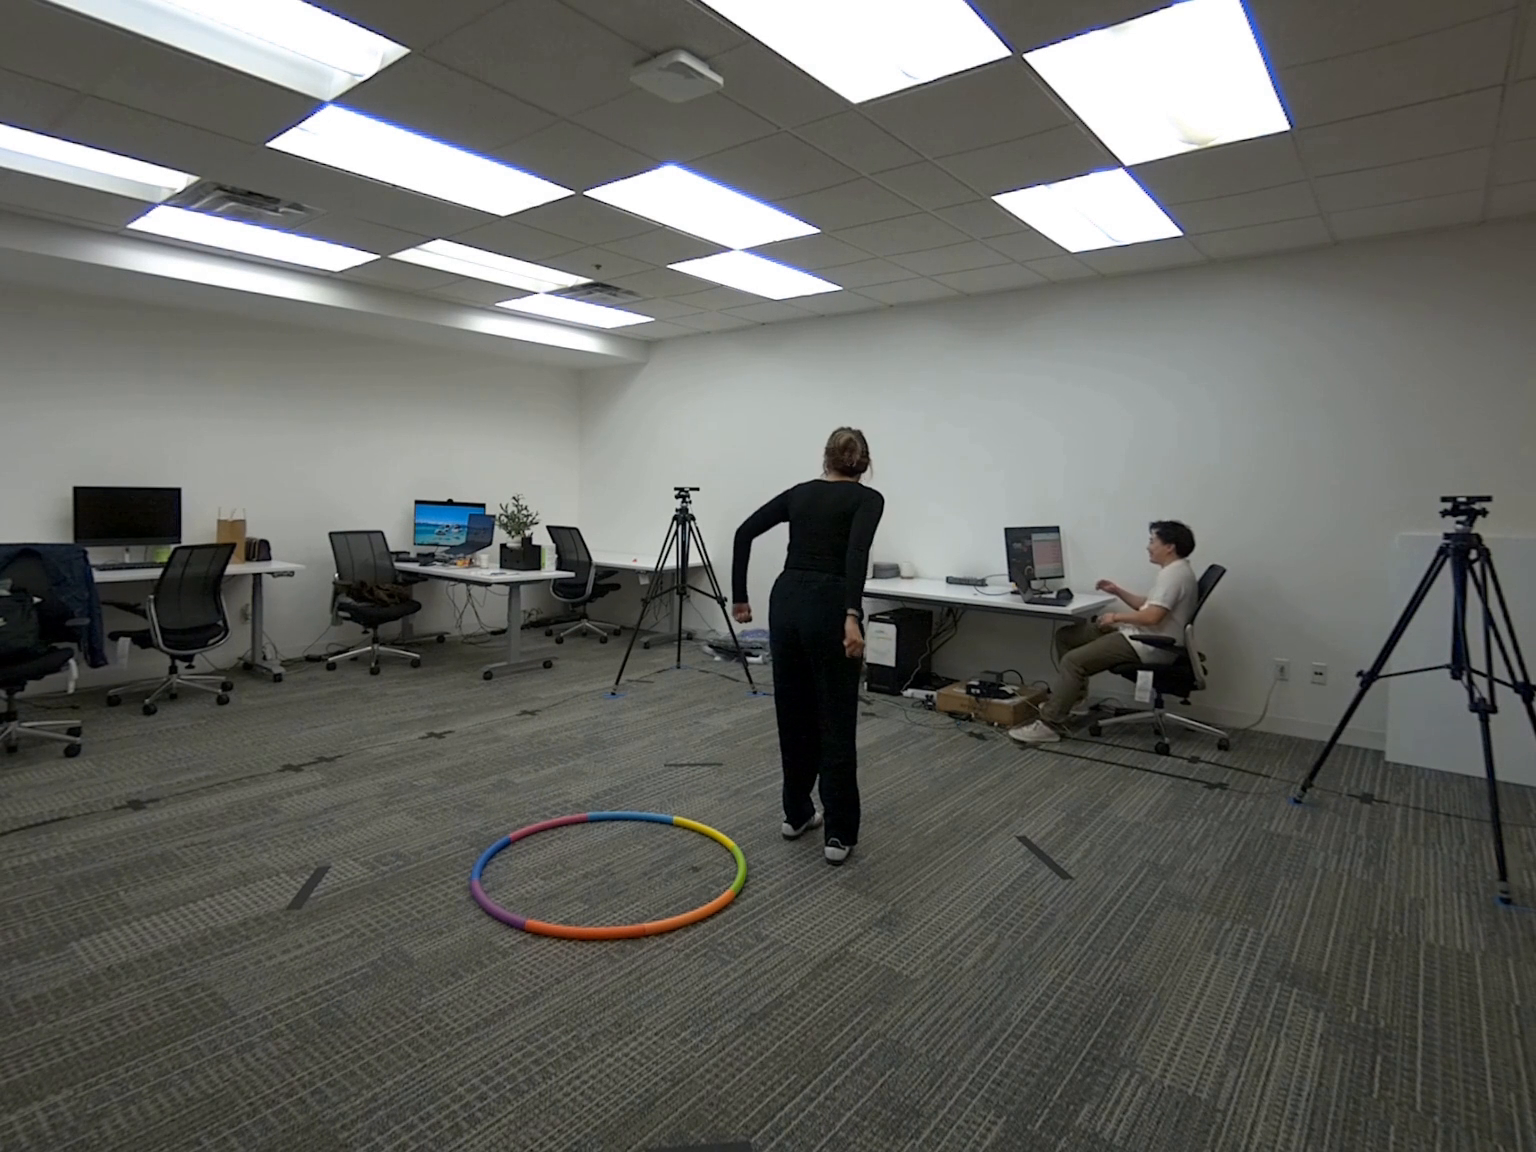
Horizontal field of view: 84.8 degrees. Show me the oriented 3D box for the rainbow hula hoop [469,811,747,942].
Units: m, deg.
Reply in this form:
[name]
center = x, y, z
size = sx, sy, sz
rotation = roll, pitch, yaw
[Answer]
[rainbow hula hoop]
center = -0.574, 1.034, 3.086
size = 0.978, 0.035, 0.984
rotation = 1, 6, -2
